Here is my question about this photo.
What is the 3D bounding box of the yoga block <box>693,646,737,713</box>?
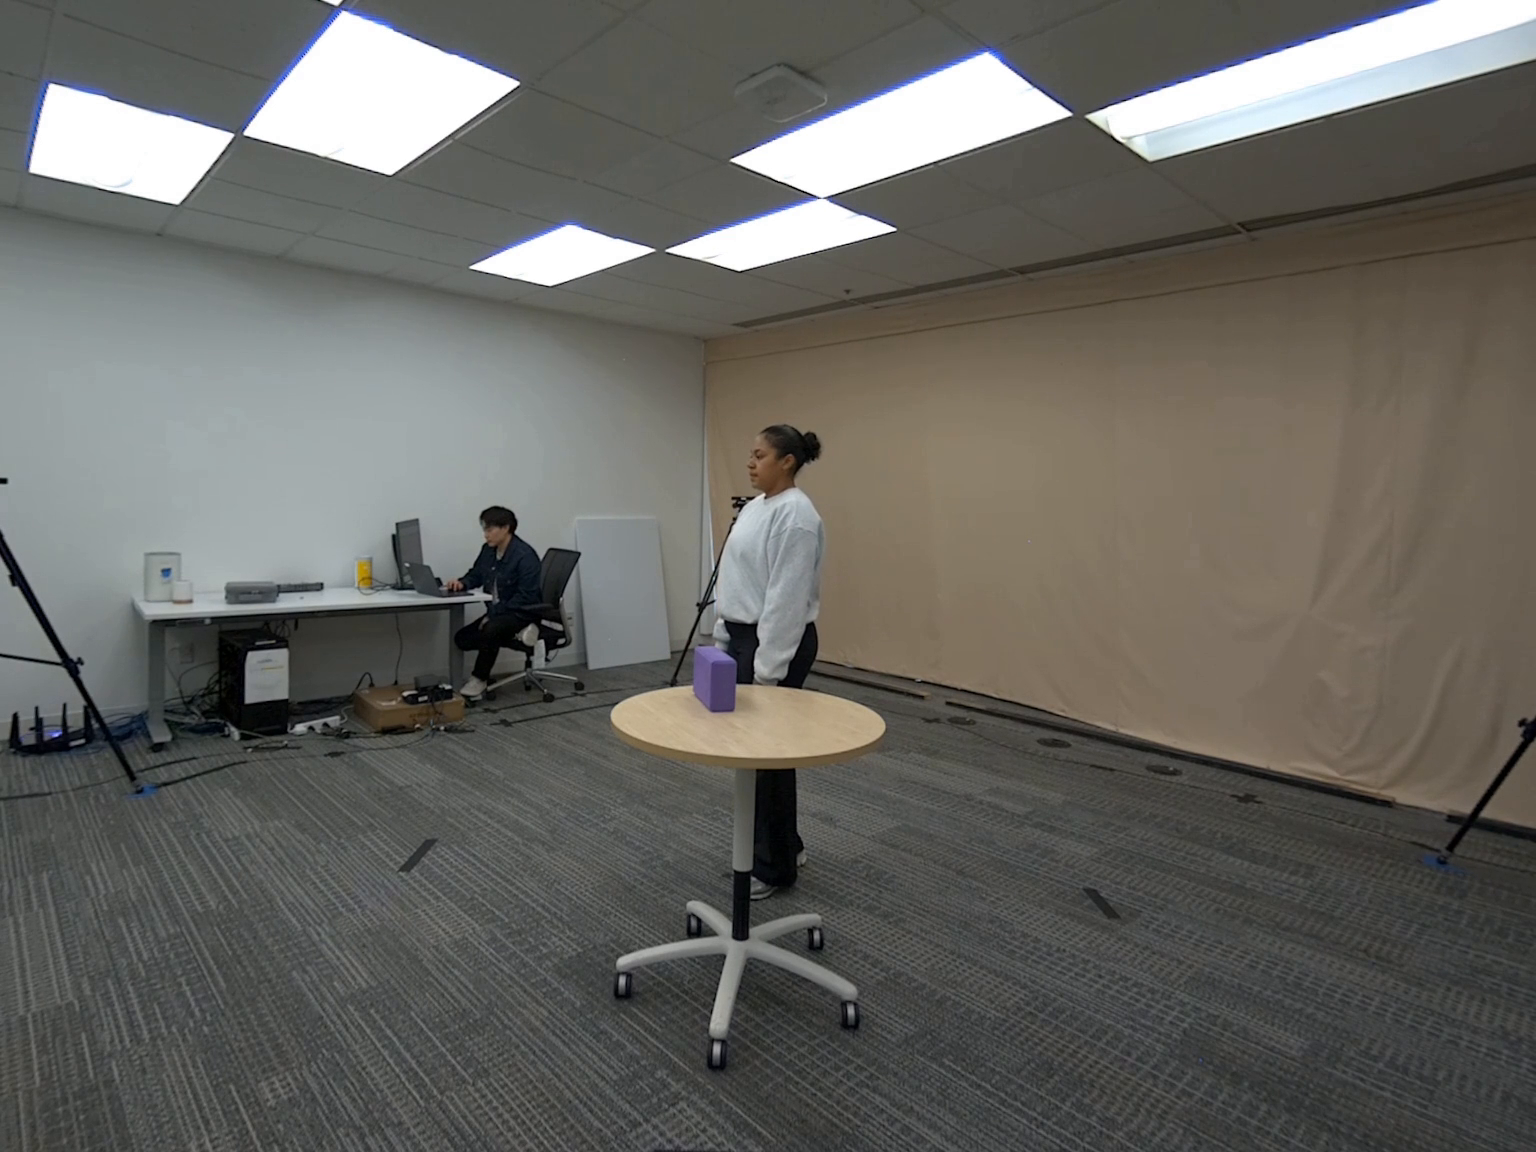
[{"bbox_3d":[-0.169,0.306,2.493,0.076,0.148,0.232,2,5,-13],"label":"yoga block"}]
